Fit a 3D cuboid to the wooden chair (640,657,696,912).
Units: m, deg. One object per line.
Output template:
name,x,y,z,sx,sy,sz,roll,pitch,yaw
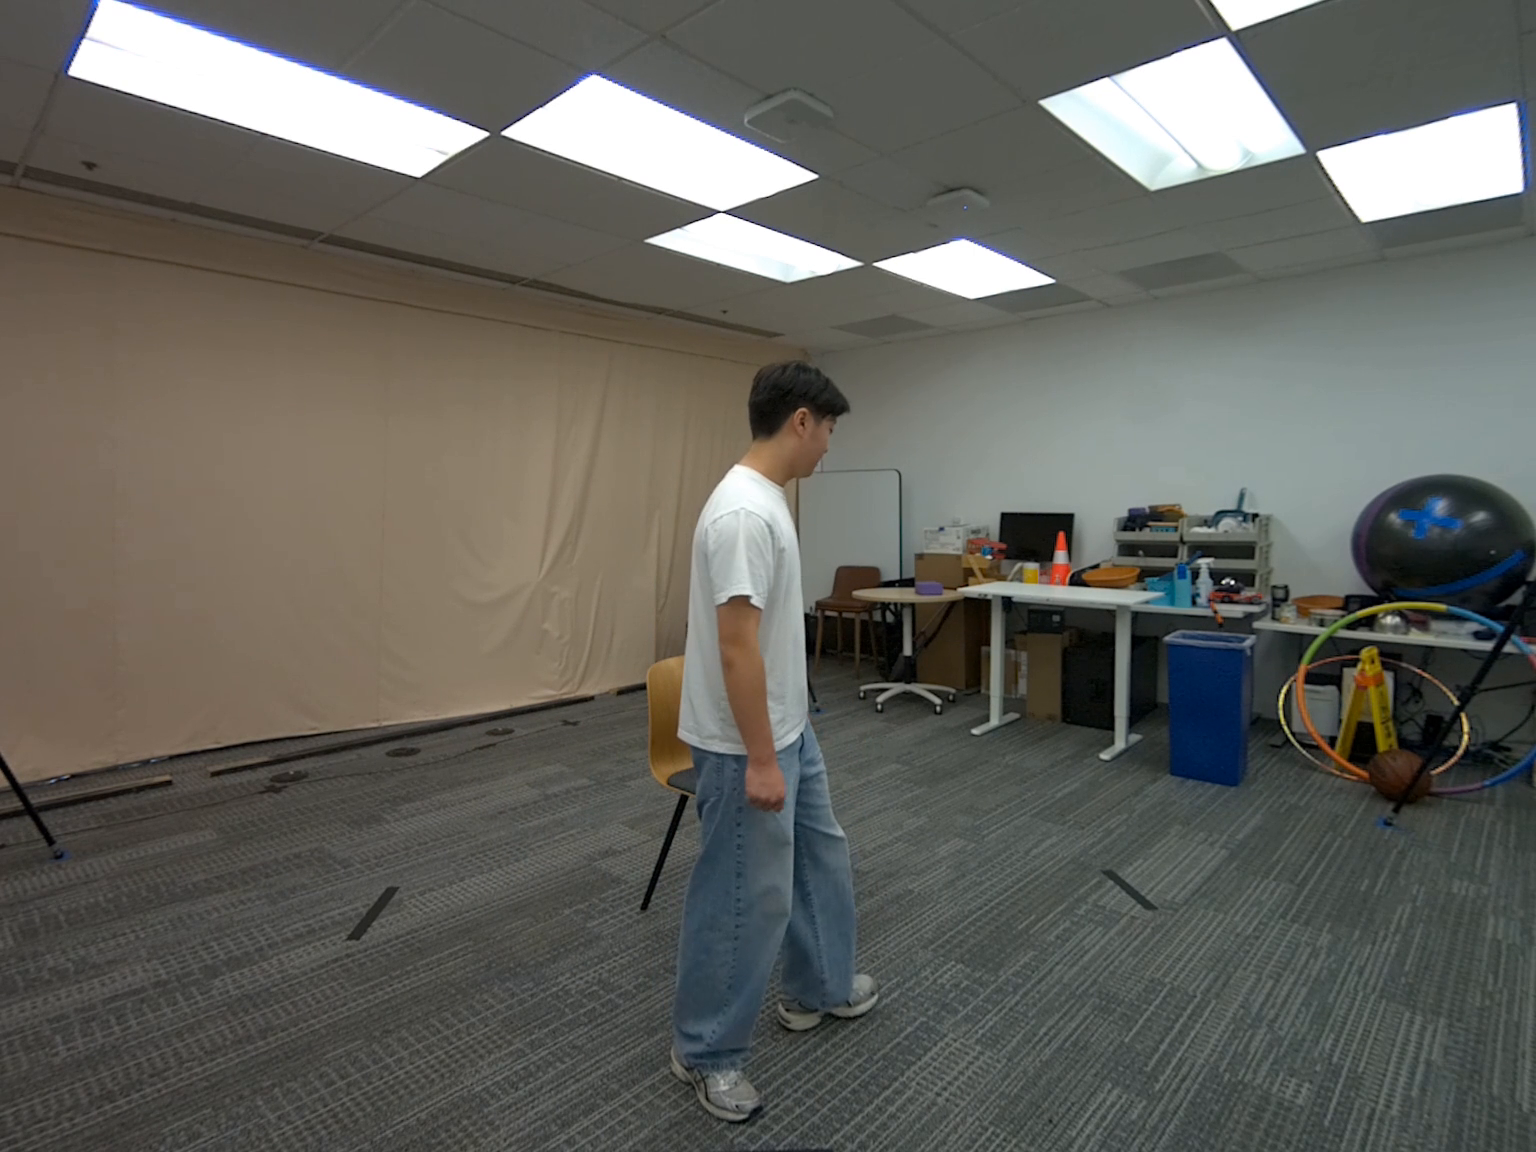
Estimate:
wooden chair,-0.116,0.727,2.853,0.539,0.877,0.463,-3,1,44
